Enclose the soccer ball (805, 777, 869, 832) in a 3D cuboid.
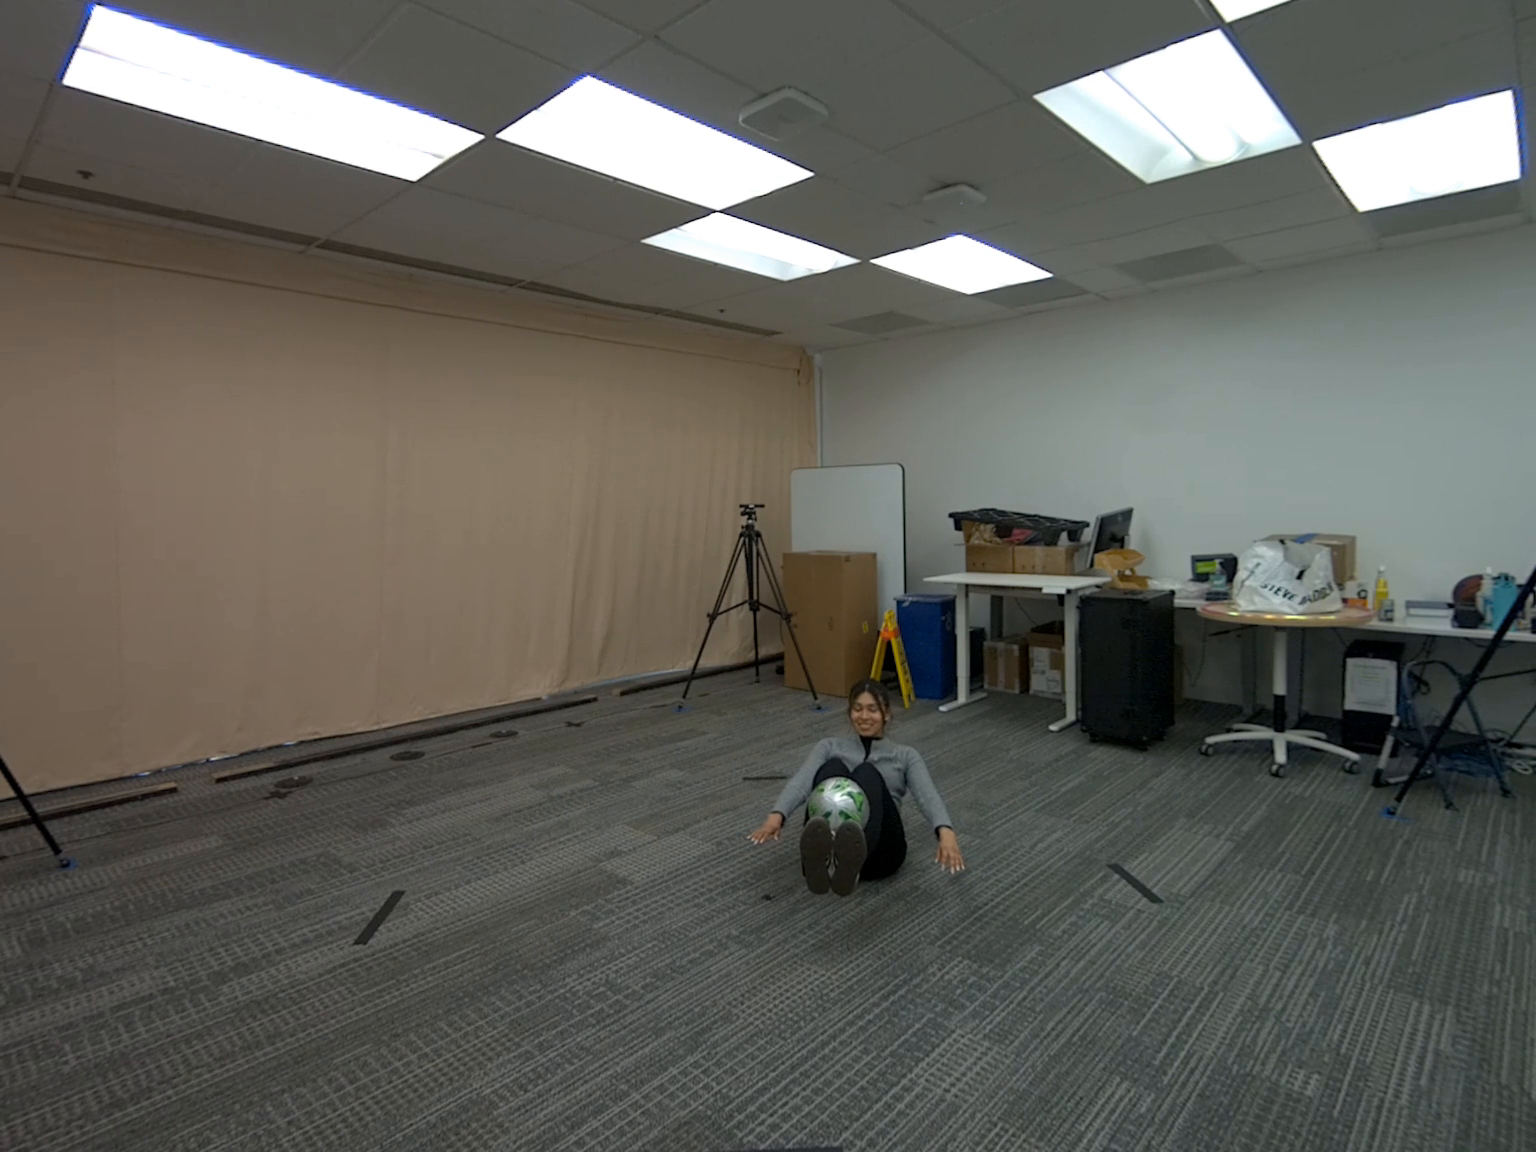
[{"bbox_3d":[0.225,0.722,2.607,0.187,0.187,0.188,-1,4,-2],"label":"soccer ball"}]
